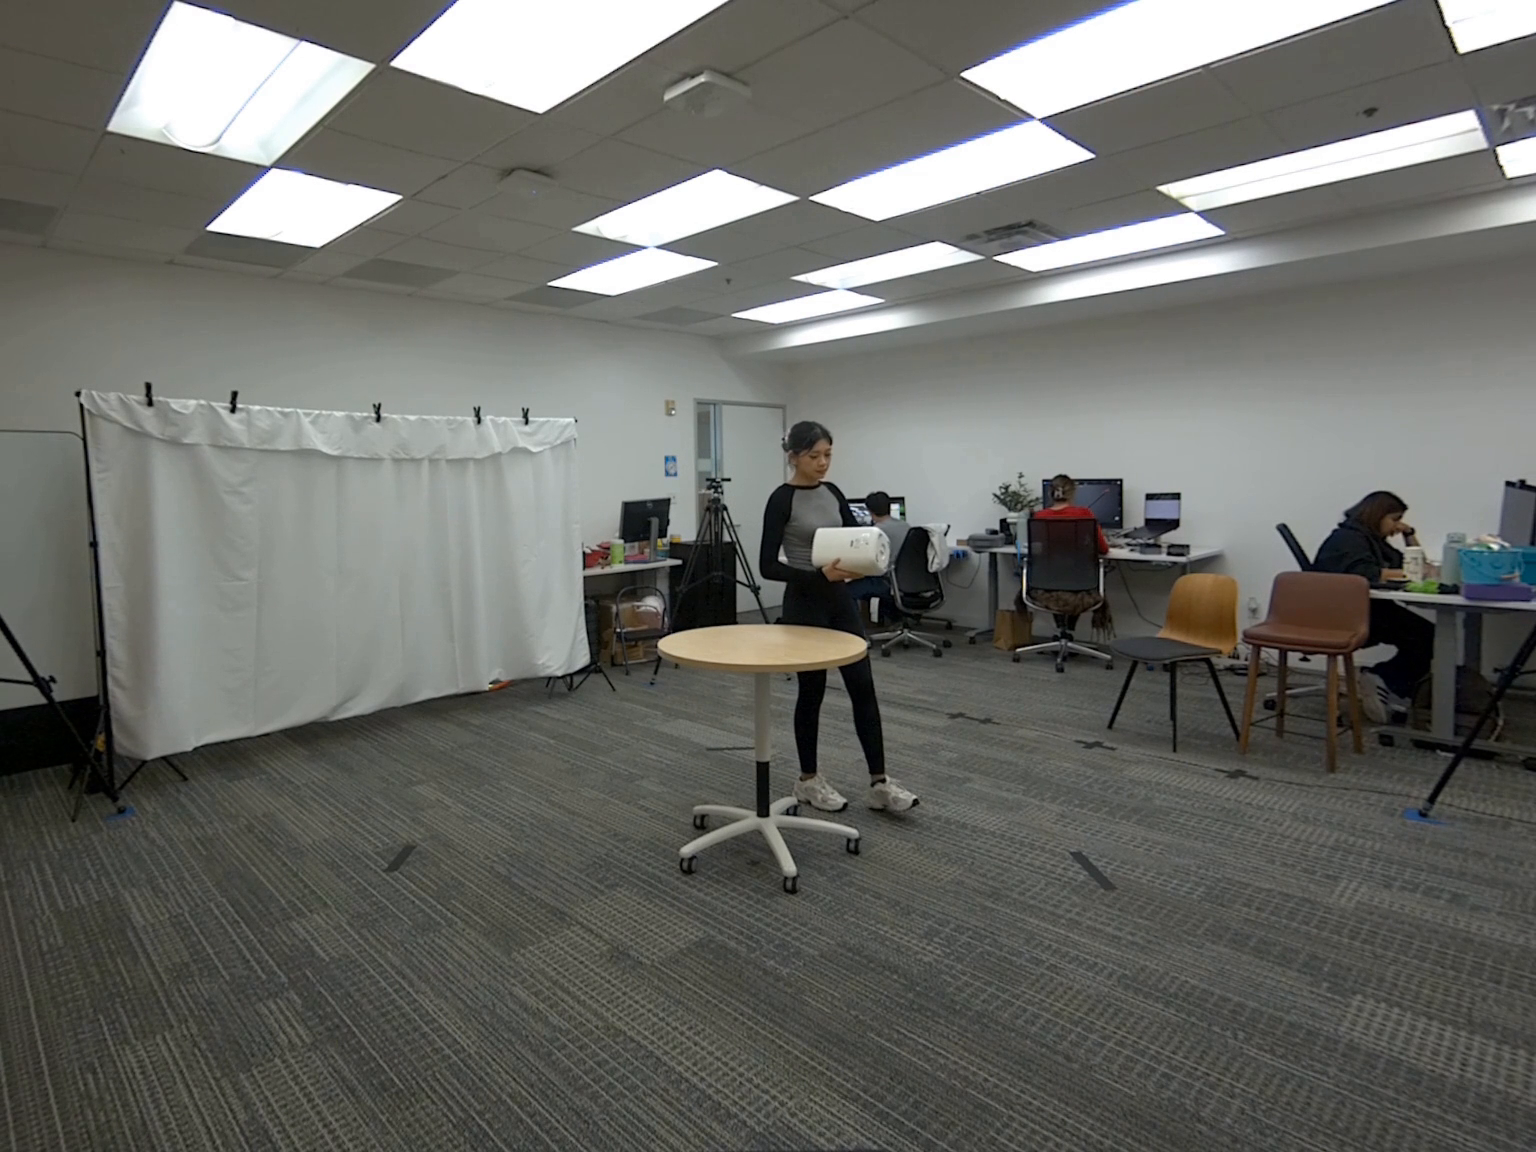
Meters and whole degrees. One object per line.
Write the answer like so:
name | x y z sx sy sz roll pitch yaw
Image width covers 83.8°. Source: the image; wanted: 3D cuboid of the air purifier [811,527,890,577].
air purifier | 0.325 -0.094 3.372 0.272 0.173 0.165 0 -20 33
